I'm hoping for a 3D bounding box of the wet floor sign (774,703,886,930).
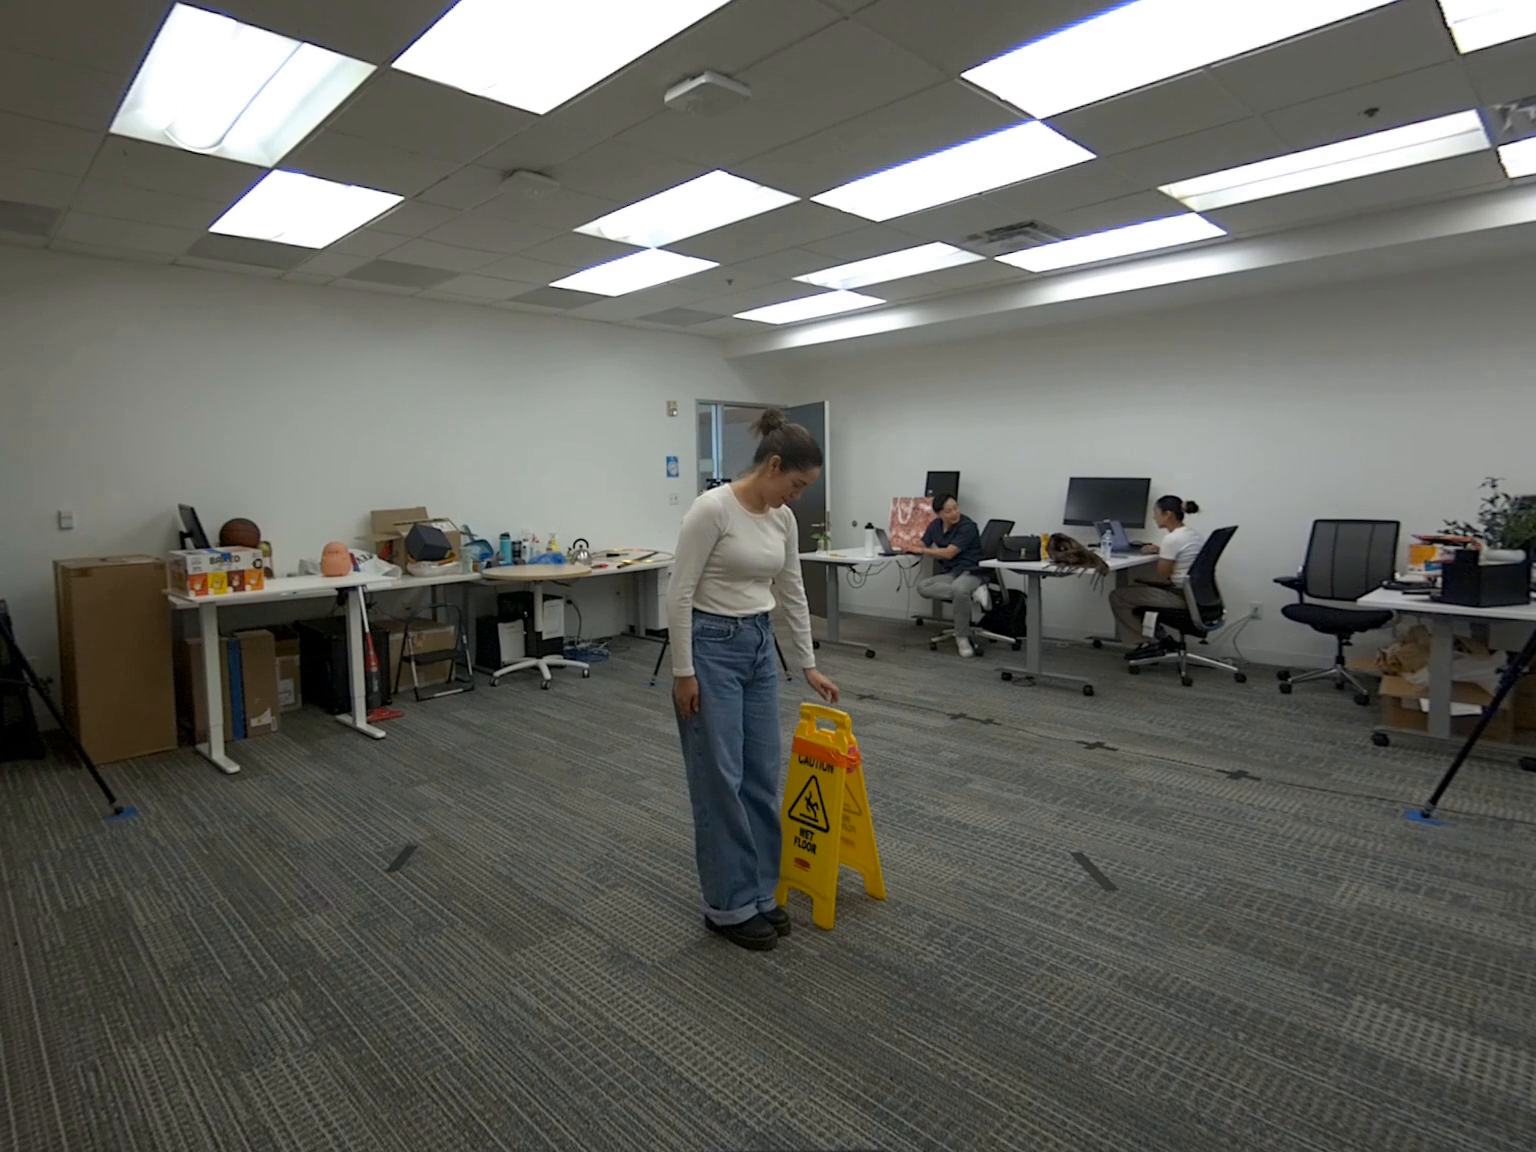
[{"bbox_3d":[0.189,0.752,2.808,0.282,0.644,0.291,-5,6,-44],"label":"wet floor sign"}]
